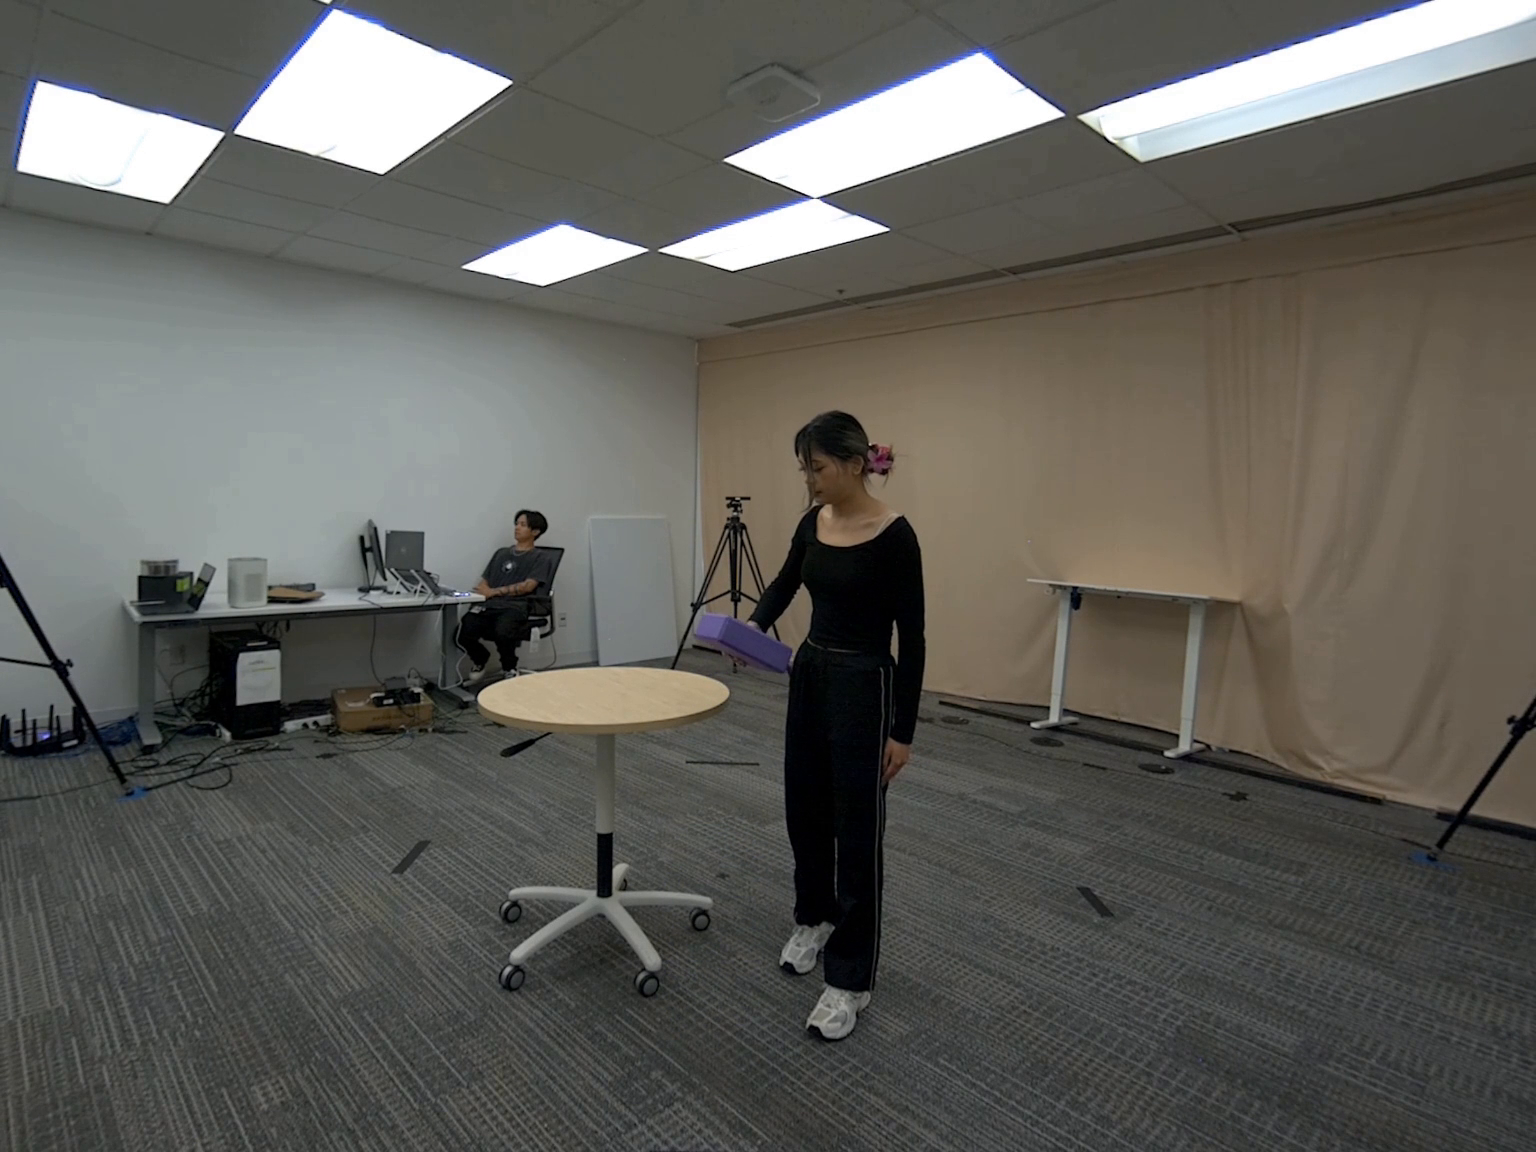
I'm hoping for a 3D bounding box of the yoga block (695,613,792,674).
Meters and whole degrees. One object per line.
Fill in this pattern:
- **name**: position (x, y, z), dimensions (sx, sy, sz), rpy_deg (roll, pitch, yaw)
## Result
- **yoga block**: position (-0.067, 0.179, 2.285), dimensions (0.223, 0.077, 0.152), rpy_deg (30, -15, -28)
